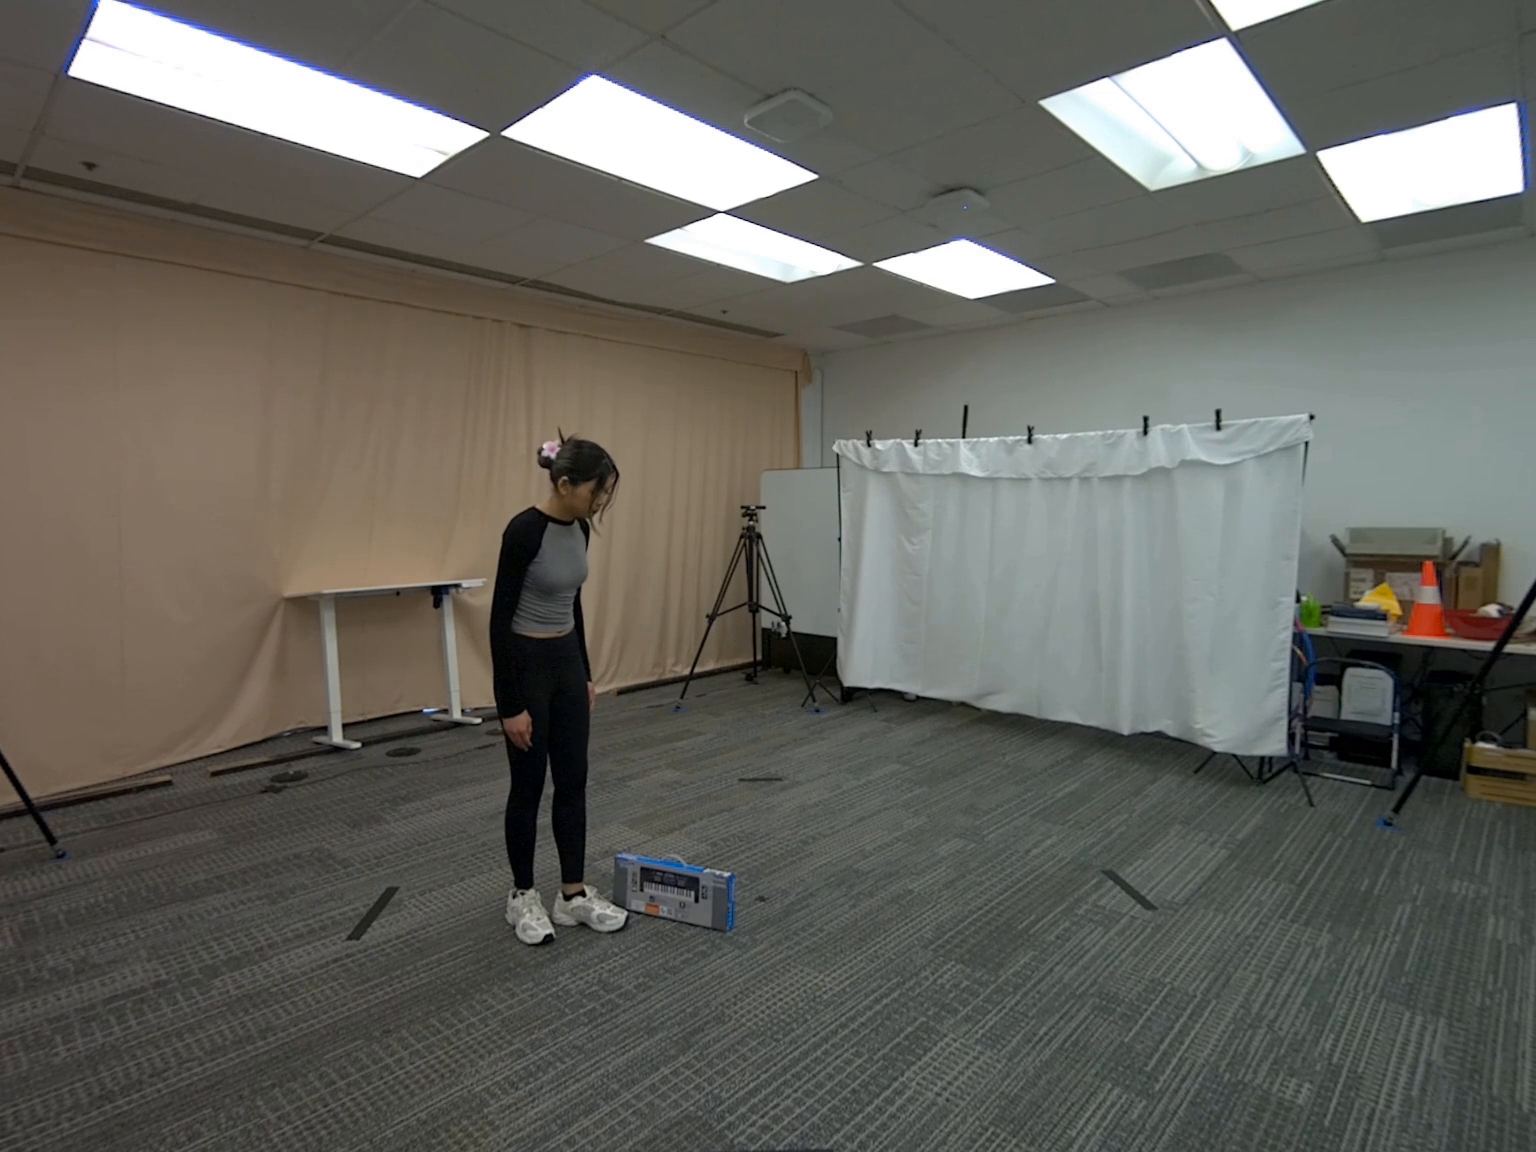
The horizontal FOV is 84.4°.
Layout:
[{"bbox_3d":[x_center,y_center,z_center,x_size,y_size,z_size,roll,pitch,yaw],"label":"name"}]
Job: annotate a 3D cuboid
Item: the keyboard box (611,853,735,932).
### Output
[{"bbox_3d":[-0.322,1.068,2.852,0.447,0.176,0.057,1,-3,24],"label":"keyboard box"}]
